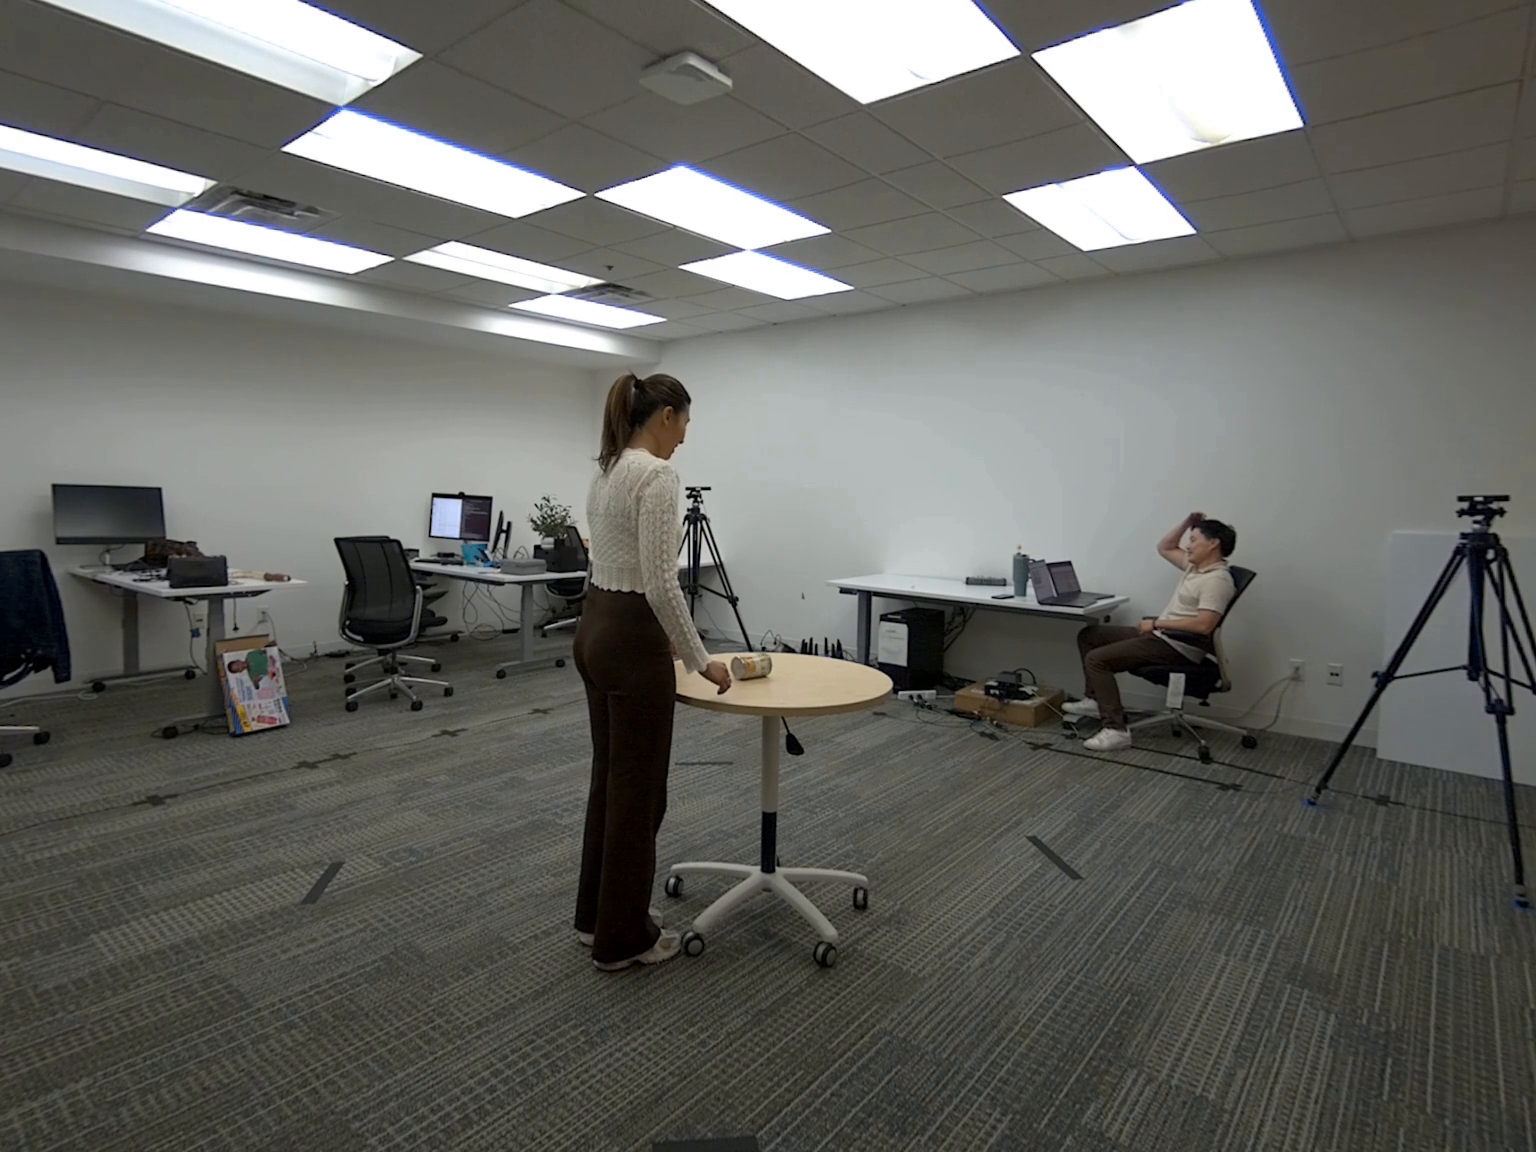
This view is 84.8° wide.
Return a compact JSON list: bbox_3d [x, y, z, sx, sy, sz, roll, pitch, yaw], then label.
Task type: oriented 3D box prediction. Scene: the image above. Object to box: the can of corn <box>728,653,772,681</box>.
[{"bbox_3d":[-0.049,0.288,2.724,0.108,0.074,0.076,-1,4,-32],"label":"can of corn"}]
